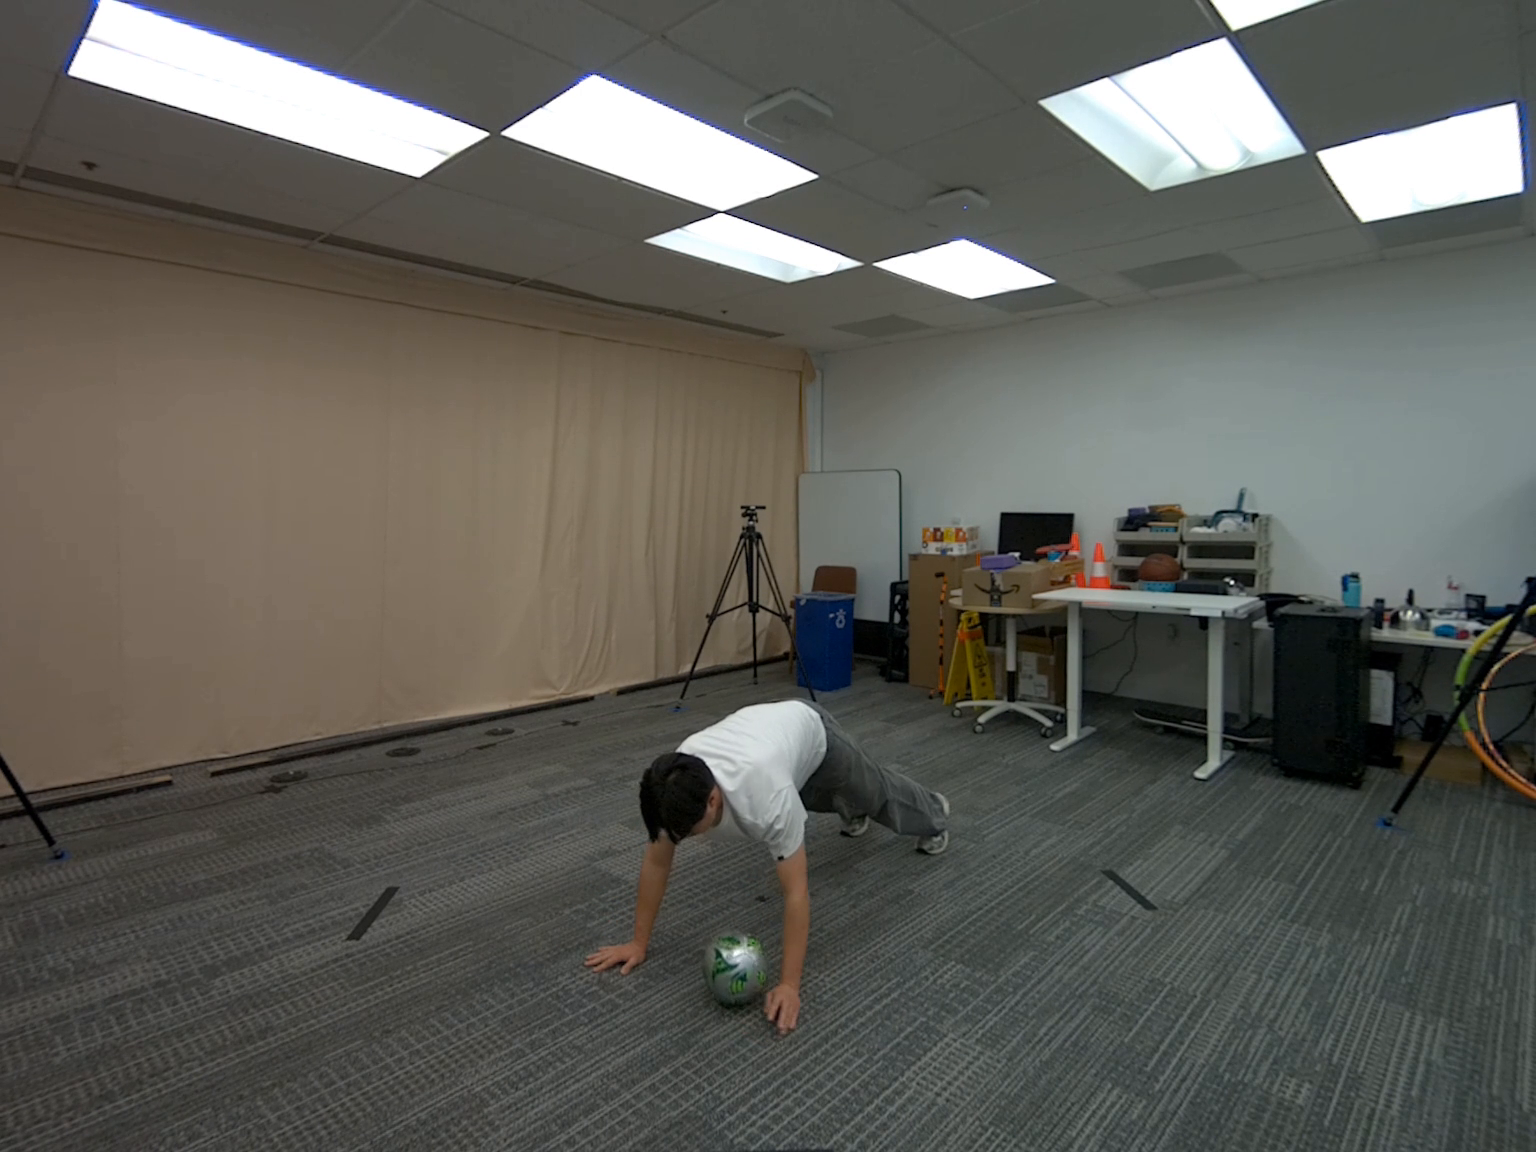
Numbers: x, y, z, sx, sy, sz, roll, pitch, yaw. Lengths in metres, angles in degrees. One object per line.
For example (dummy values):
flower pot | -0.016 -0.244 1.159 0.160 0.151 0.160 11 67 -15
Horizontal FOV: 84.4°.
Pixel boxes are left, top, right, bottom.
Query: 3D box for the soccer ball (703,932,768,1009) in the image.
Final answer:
soccer ball | -0.085 1.101 2.358 0.187 0.187 0.188 0 4 -2
